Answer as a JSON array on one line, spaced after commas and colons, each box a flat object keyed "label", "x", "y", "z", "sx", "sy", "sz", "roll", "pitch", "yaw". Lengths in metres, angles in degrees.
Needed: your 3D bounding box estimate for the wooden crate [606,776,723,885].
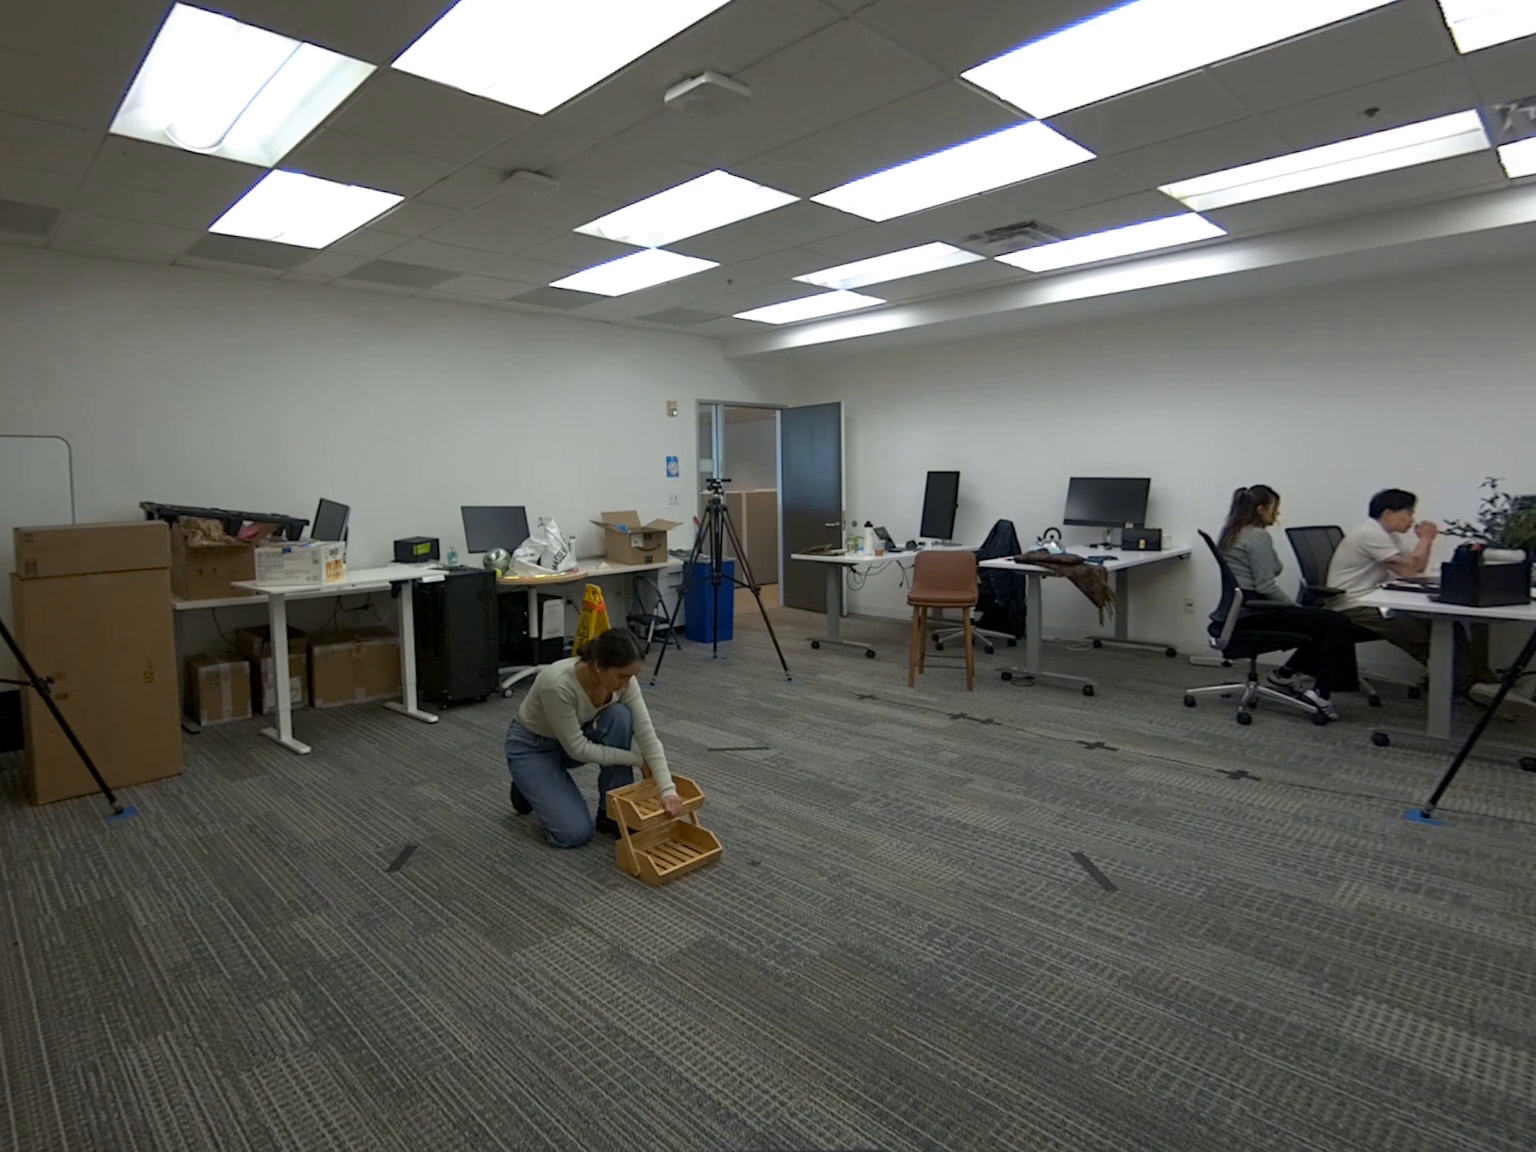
[{"label": "wooden crate", "x": -0.373, "y": 0.910, "z": 3.122, "sx": 0.311, "sy": 0.272, "sz": 0.316, "roll": 3, "pitch": 6, "yaw": 45}]
